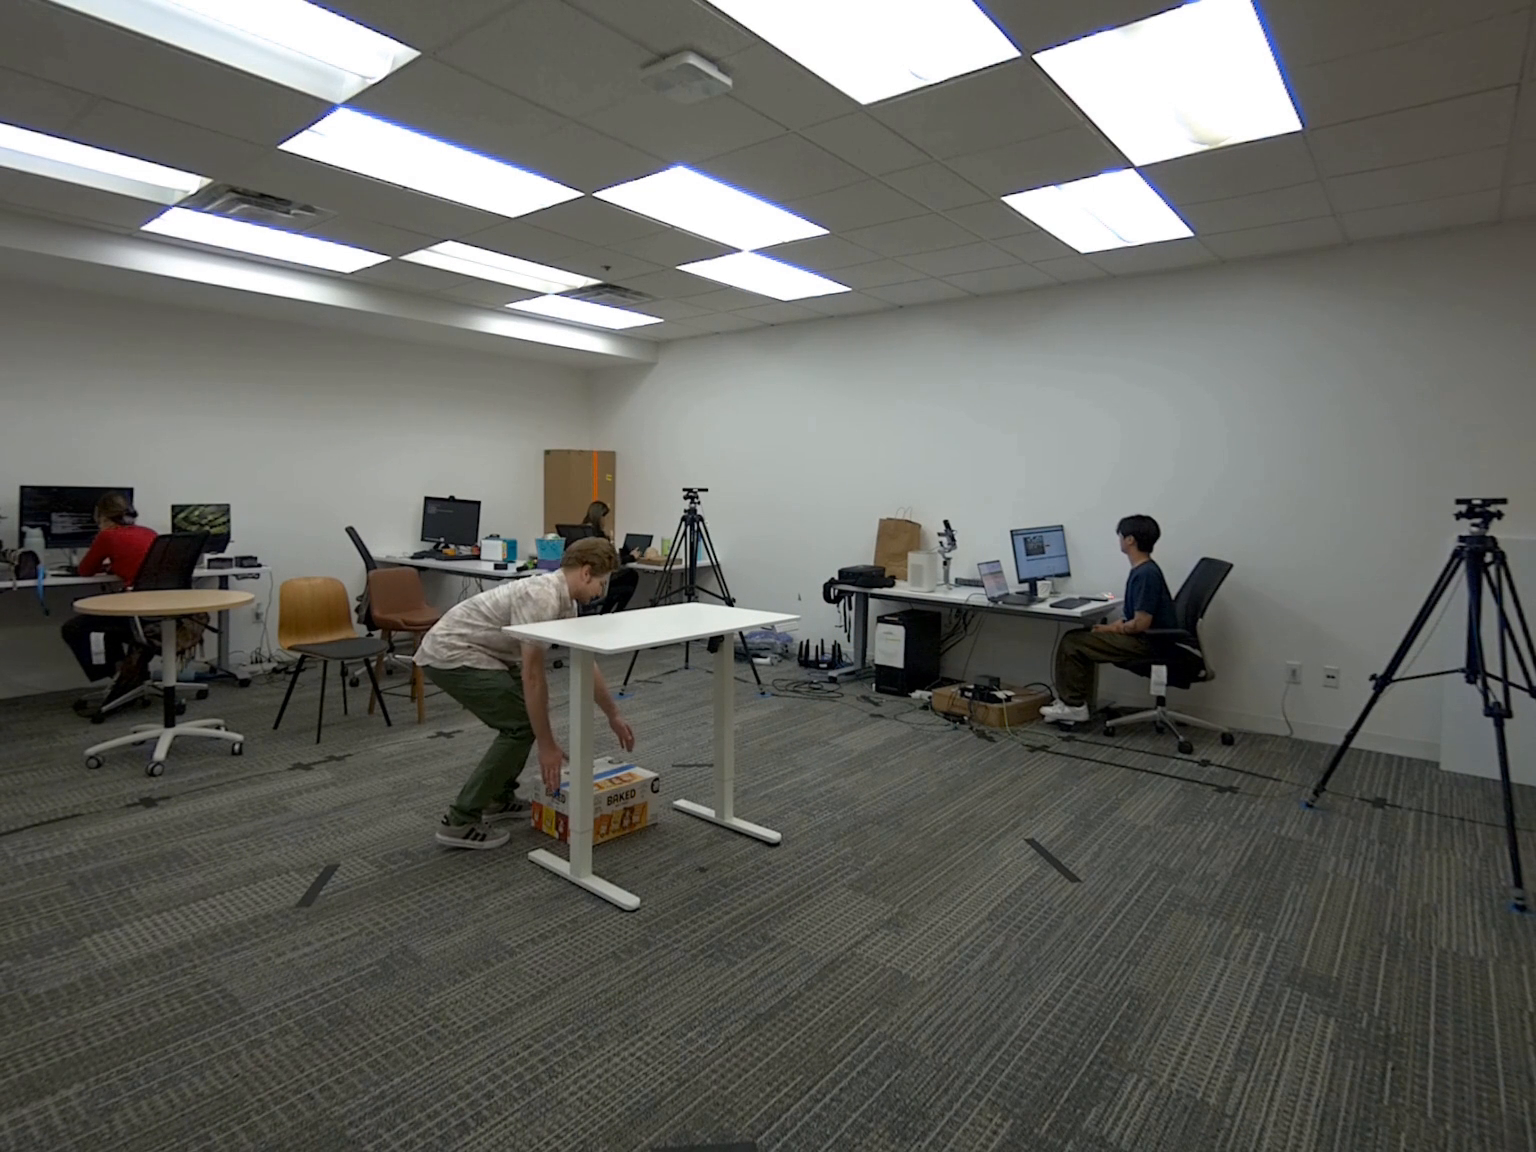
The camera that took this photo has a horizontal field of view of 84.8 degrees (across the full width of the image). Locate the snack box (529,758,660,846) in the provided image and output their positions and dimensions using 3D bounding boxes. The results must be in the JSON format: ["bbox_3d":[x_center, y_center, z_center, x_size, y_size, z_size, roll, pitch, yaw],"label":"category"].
[{"bbox_3d":[-0.722,0.923,3.504,0.352,0.205,0.393,5,6,42],"label":"snack box"}]
